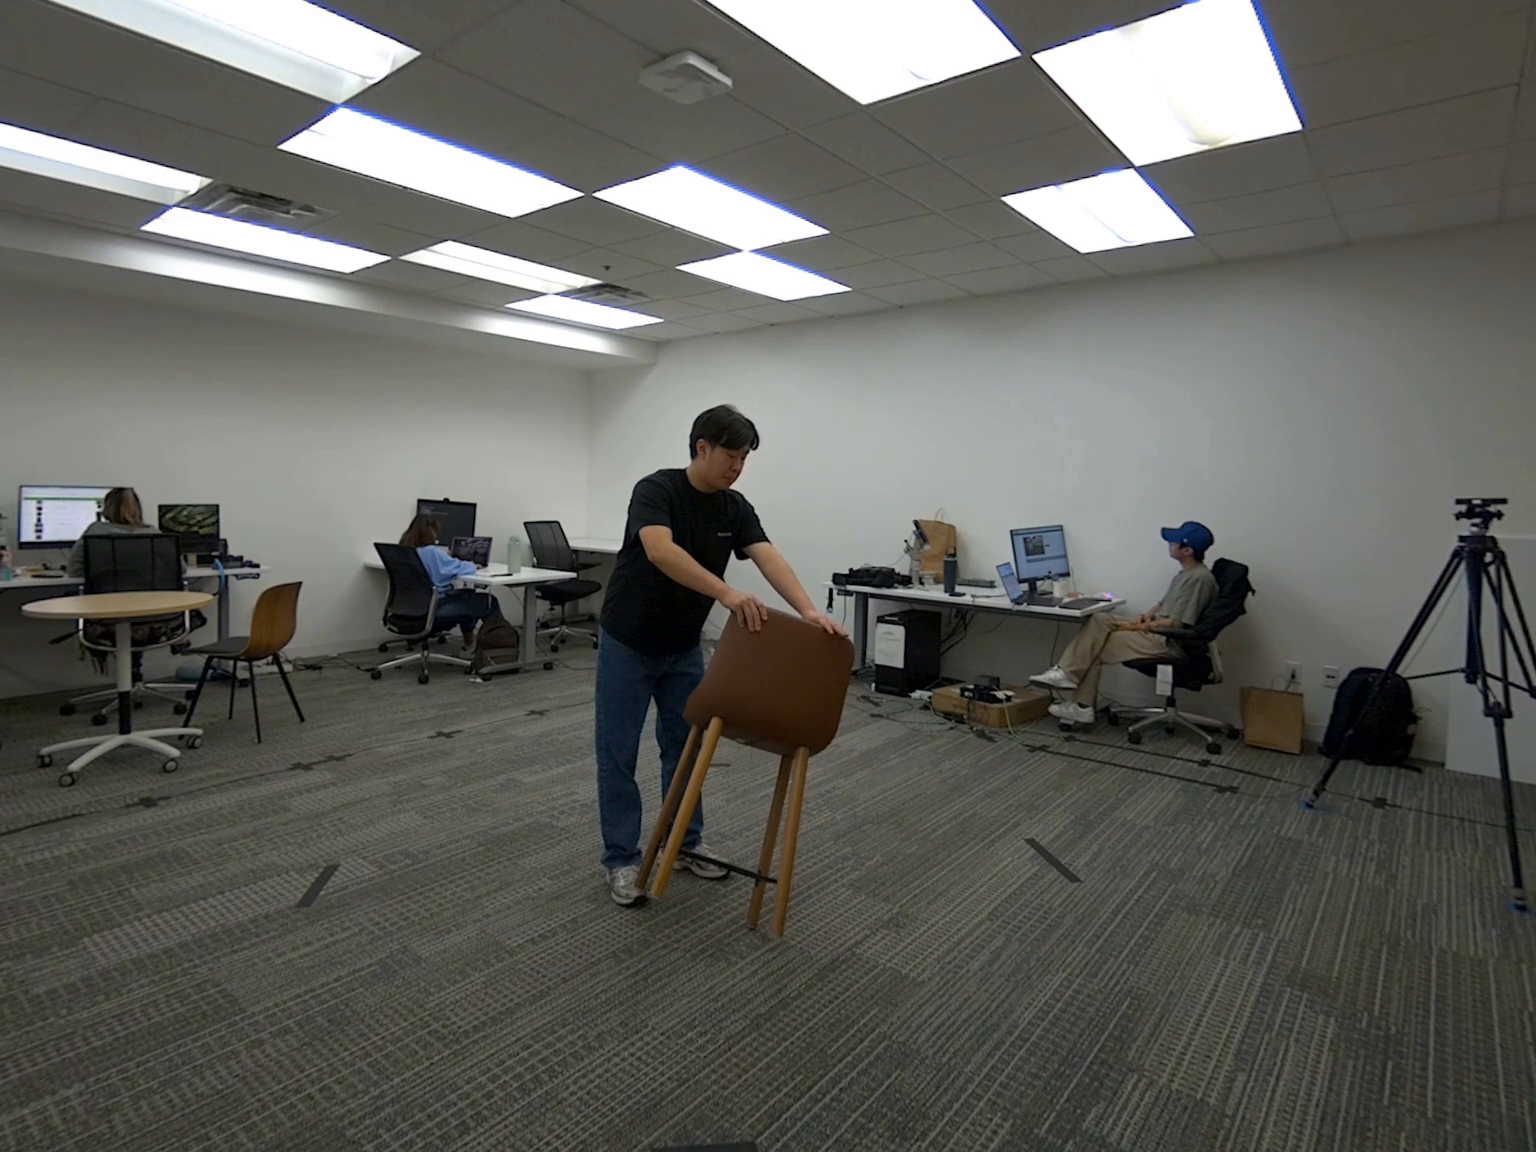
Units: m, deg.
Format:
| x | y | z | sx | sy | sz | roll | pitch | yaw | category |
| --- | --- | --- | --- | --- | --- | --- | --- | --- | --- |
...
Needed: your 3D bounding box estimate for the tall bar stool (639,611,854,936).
| x | y | z | sx | sy | sz | roll | pitch | yaw | category |
| --- | --- | --- | --- | --- | --- | --- | --- | --- | --- |
| -0.073 | 0.592 | 2.653 | 0.455 | 0.900 | 0.464 | 18 | -20 | -4 | tall bar stool |
